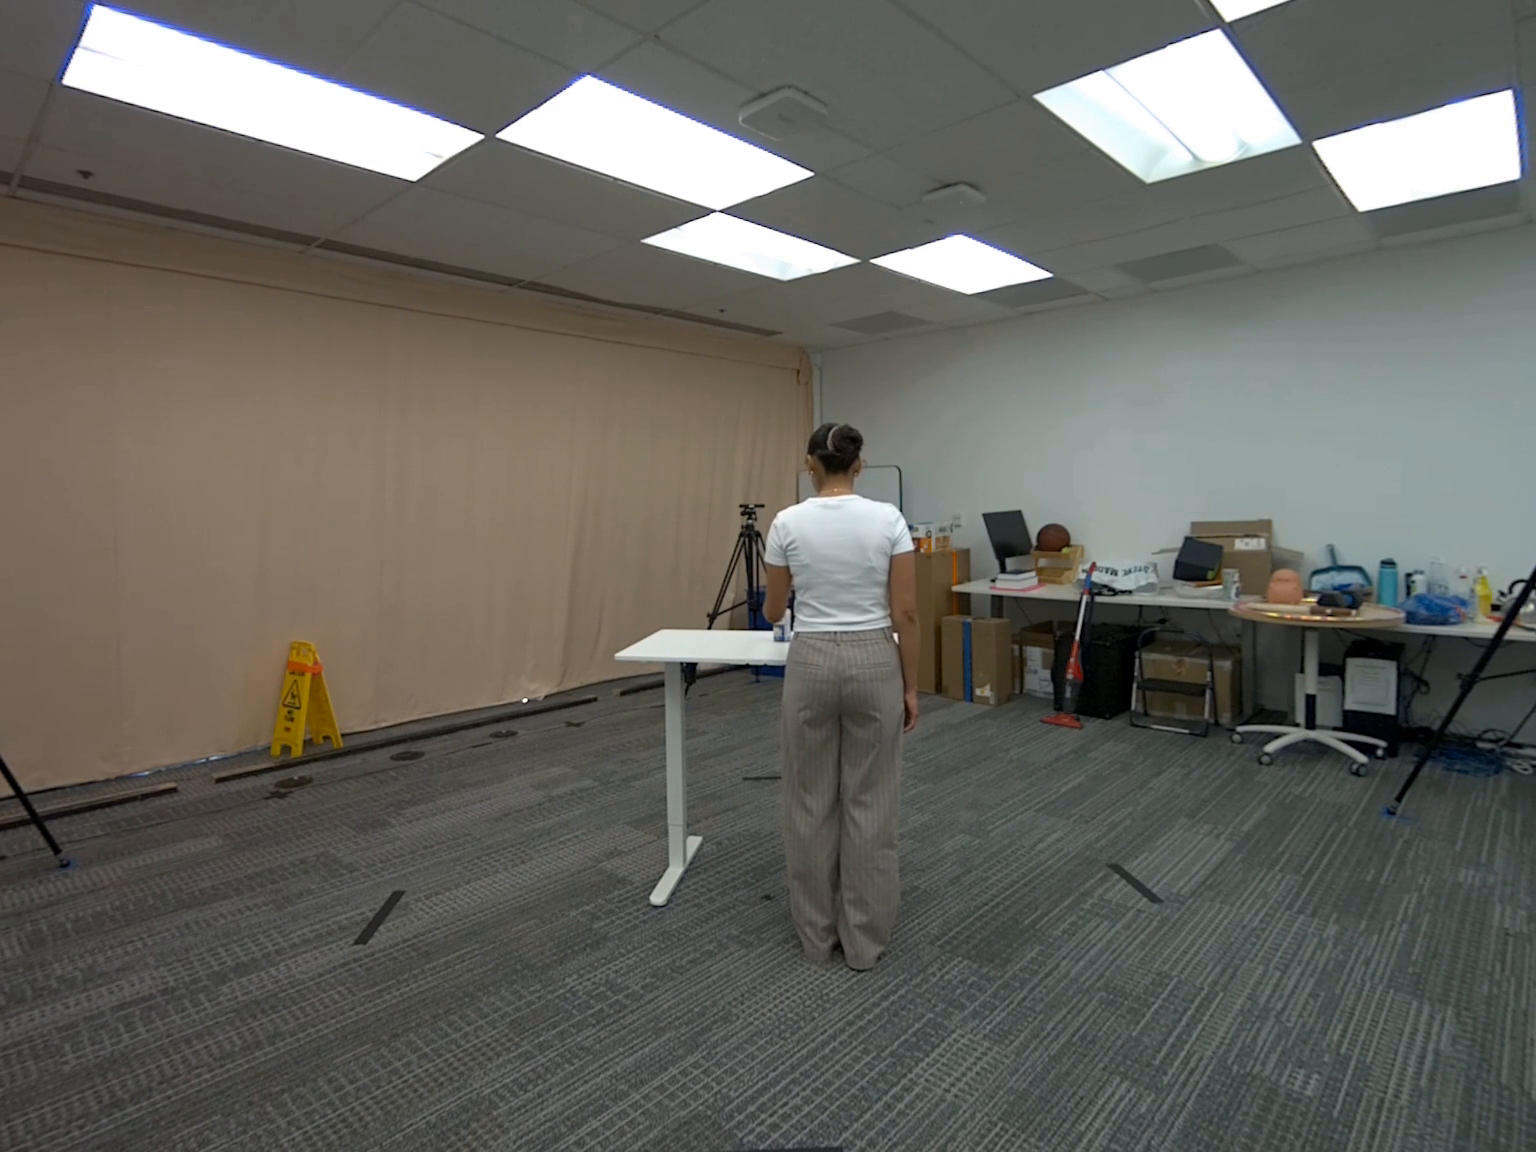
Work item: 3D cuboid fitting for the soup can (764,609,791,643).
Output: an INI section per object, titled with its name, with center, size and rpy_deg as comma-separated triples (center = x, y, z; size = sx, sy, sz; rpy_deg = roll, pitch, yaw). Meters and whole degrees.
[soup can]
center = 0.054, 0.184, 3.136
size = 0.067, 0.121, 0.067
rpy_deg = -4, 3, -2
